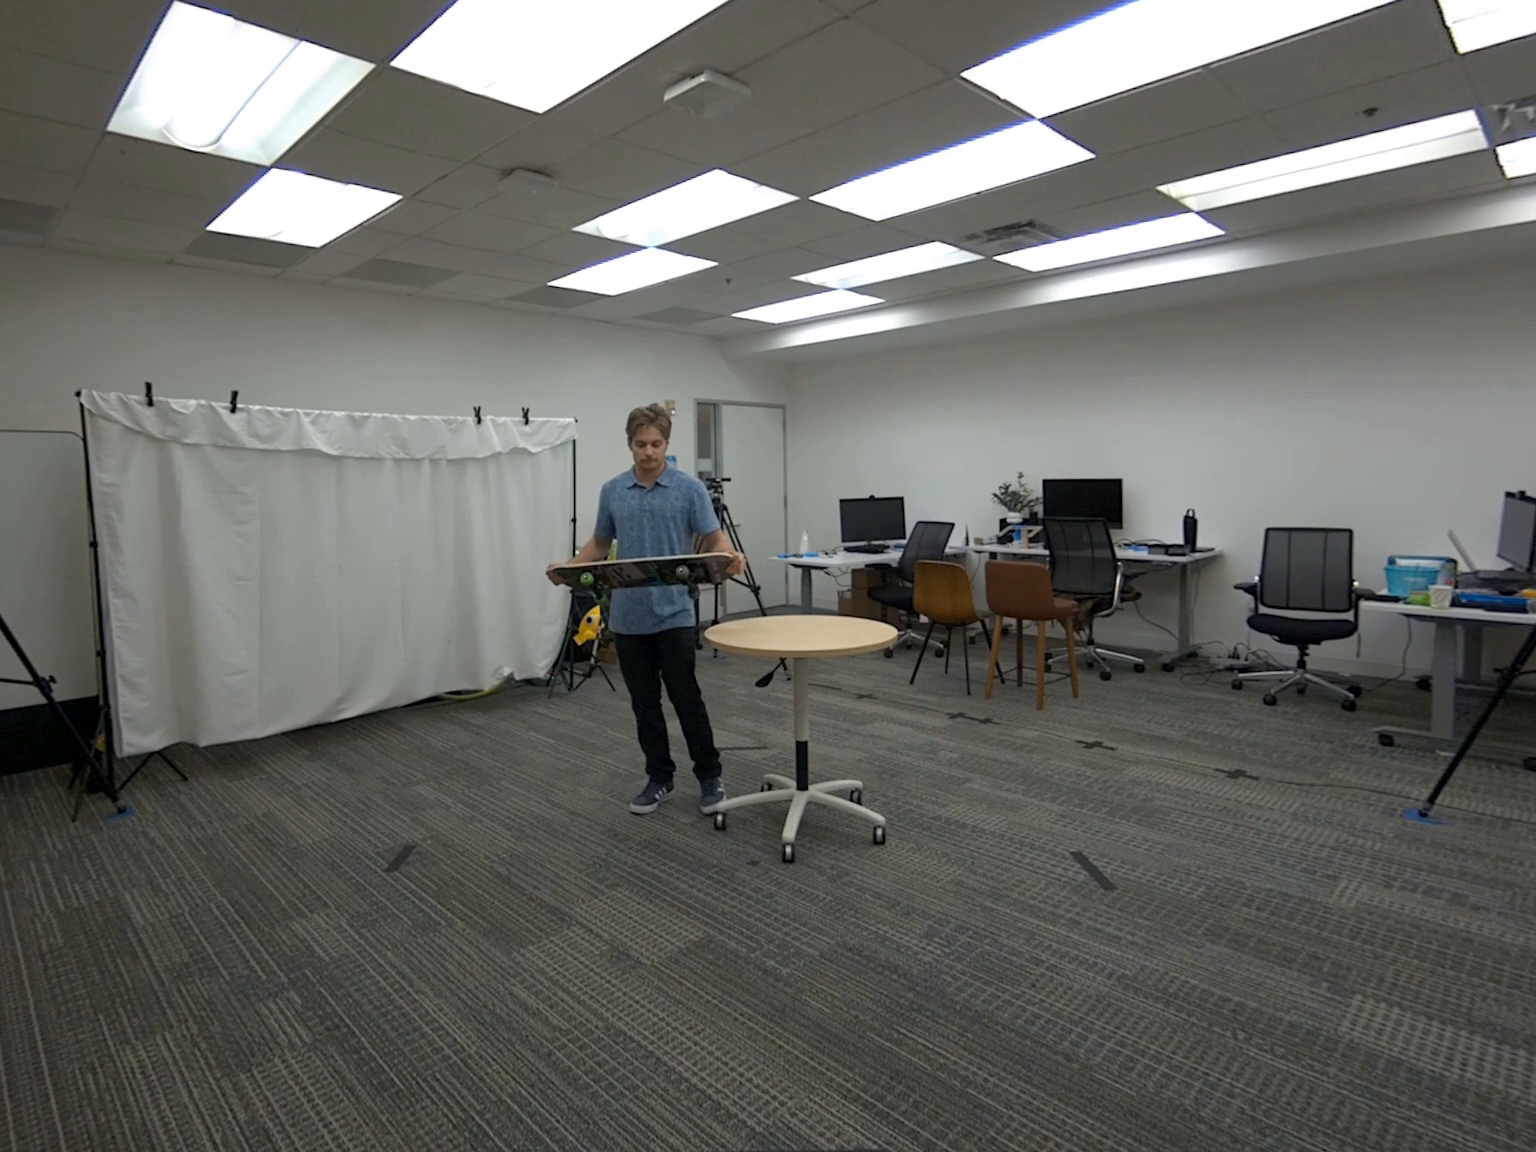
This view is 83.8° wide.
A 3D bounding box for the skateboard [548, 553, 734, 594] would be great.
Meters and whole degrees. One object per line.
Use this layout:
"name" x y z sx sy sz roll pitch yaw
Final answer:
"skateboard" -0.509 0.021 3.387 0.795 0.113 0.187 -4 -34 13
